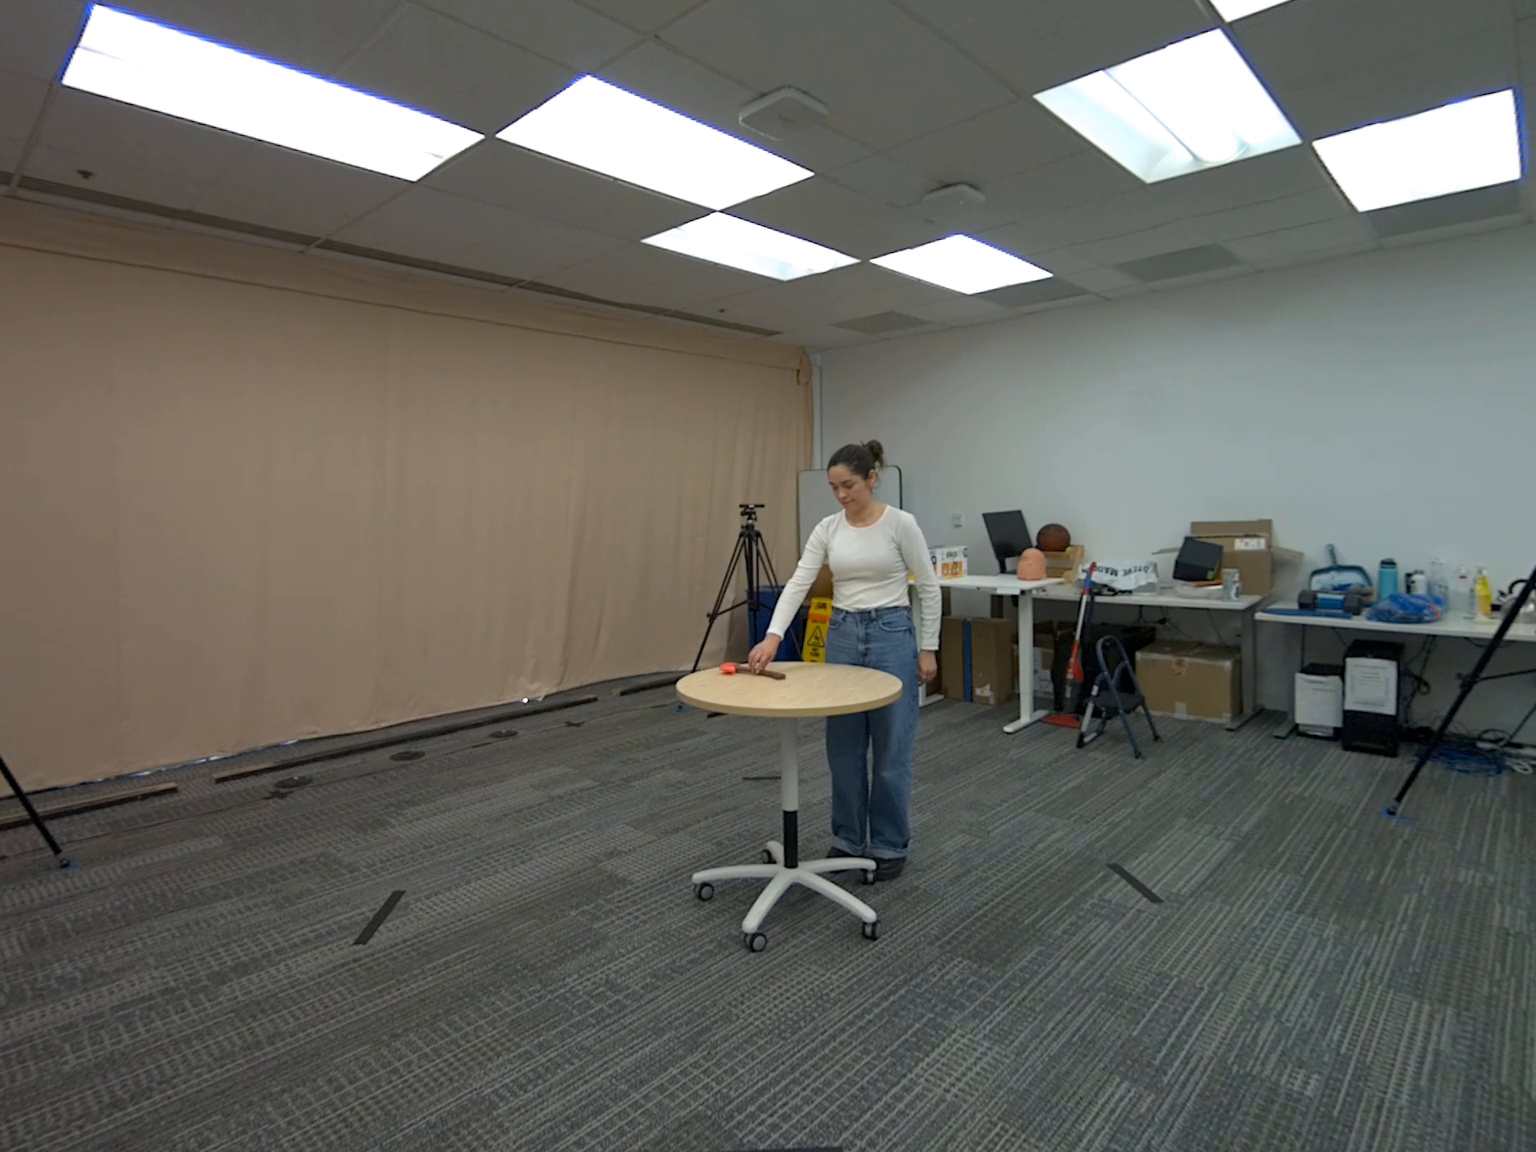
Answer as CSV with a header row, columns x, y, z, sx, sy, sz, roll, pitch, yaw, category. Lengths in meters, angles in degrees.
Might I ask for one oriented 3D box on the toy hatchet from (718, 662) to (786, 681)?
x,y,z,sx,sy,sz,roll,pitch,yaw,category
-0.069,0.340,3.006,0.127,0.029,0.279,8,-1,-38,toy hatchet
